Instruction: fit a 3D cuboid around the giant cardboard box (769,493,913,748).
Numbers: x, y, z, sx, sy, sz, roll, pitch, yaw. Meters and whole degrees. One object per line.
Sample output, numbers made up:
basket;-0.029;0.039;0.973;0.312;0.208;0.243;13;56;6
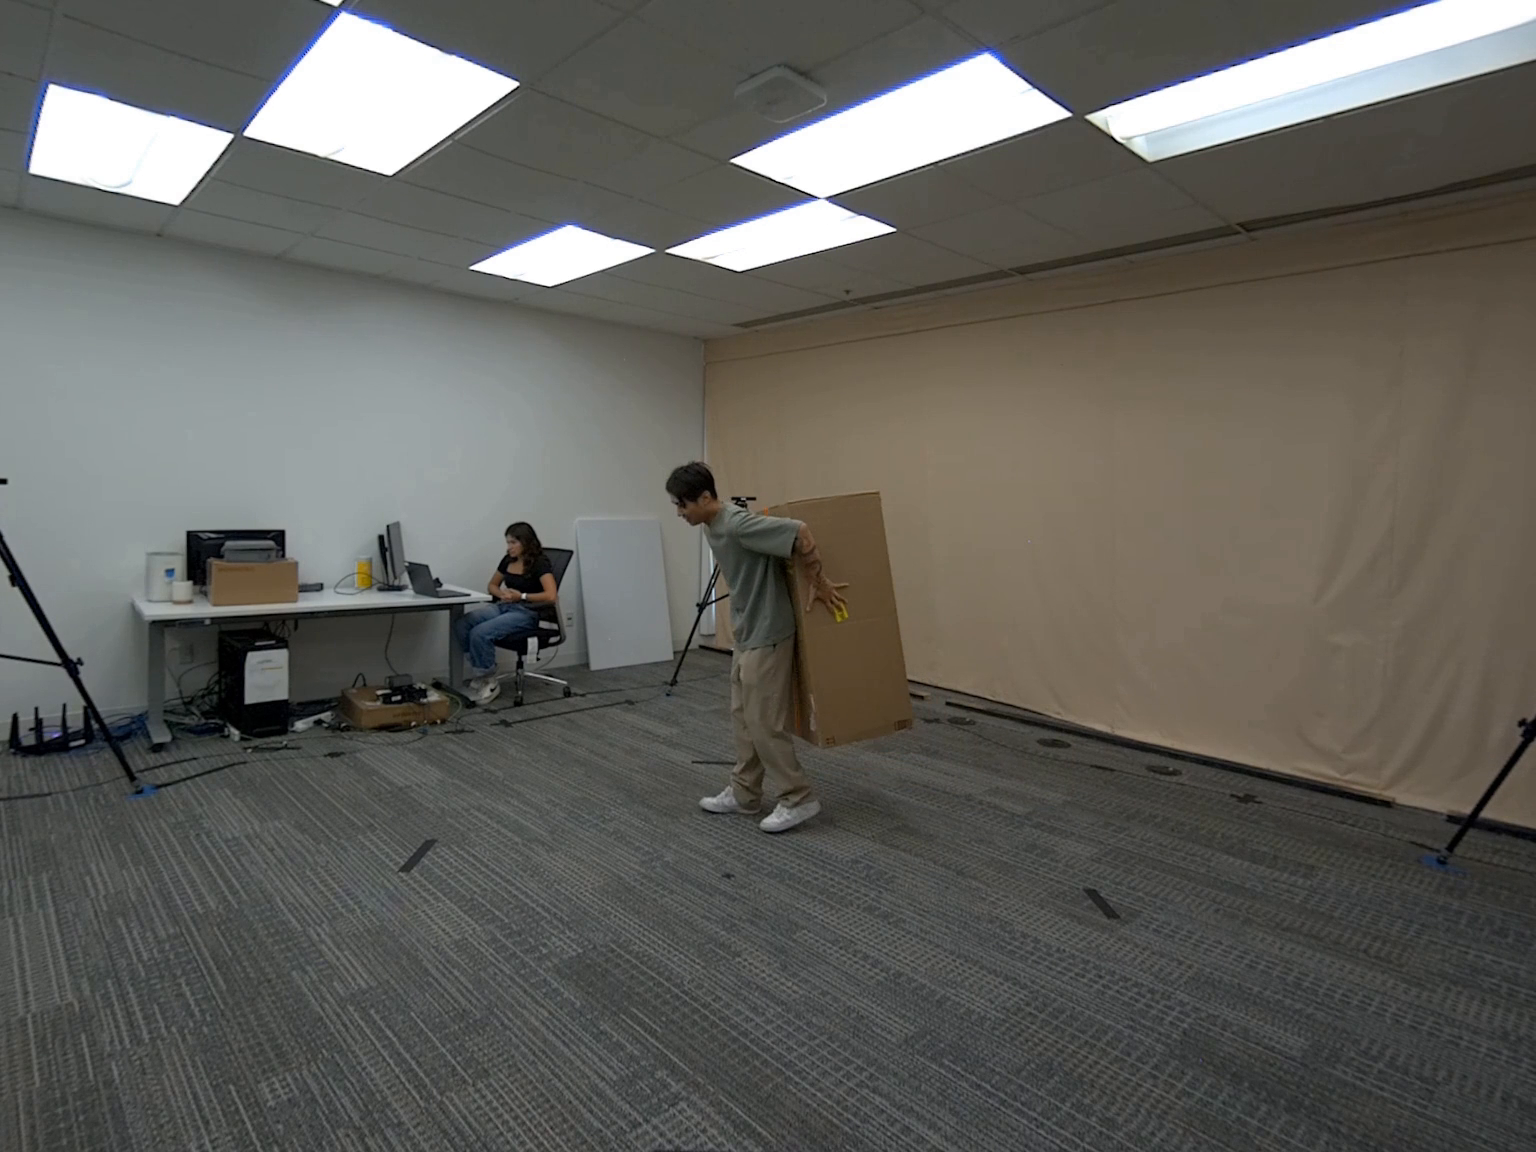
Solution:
giant cardboard box;0.257;0.177;3.772;0.422;1.025;0.584;-8;1;-16
